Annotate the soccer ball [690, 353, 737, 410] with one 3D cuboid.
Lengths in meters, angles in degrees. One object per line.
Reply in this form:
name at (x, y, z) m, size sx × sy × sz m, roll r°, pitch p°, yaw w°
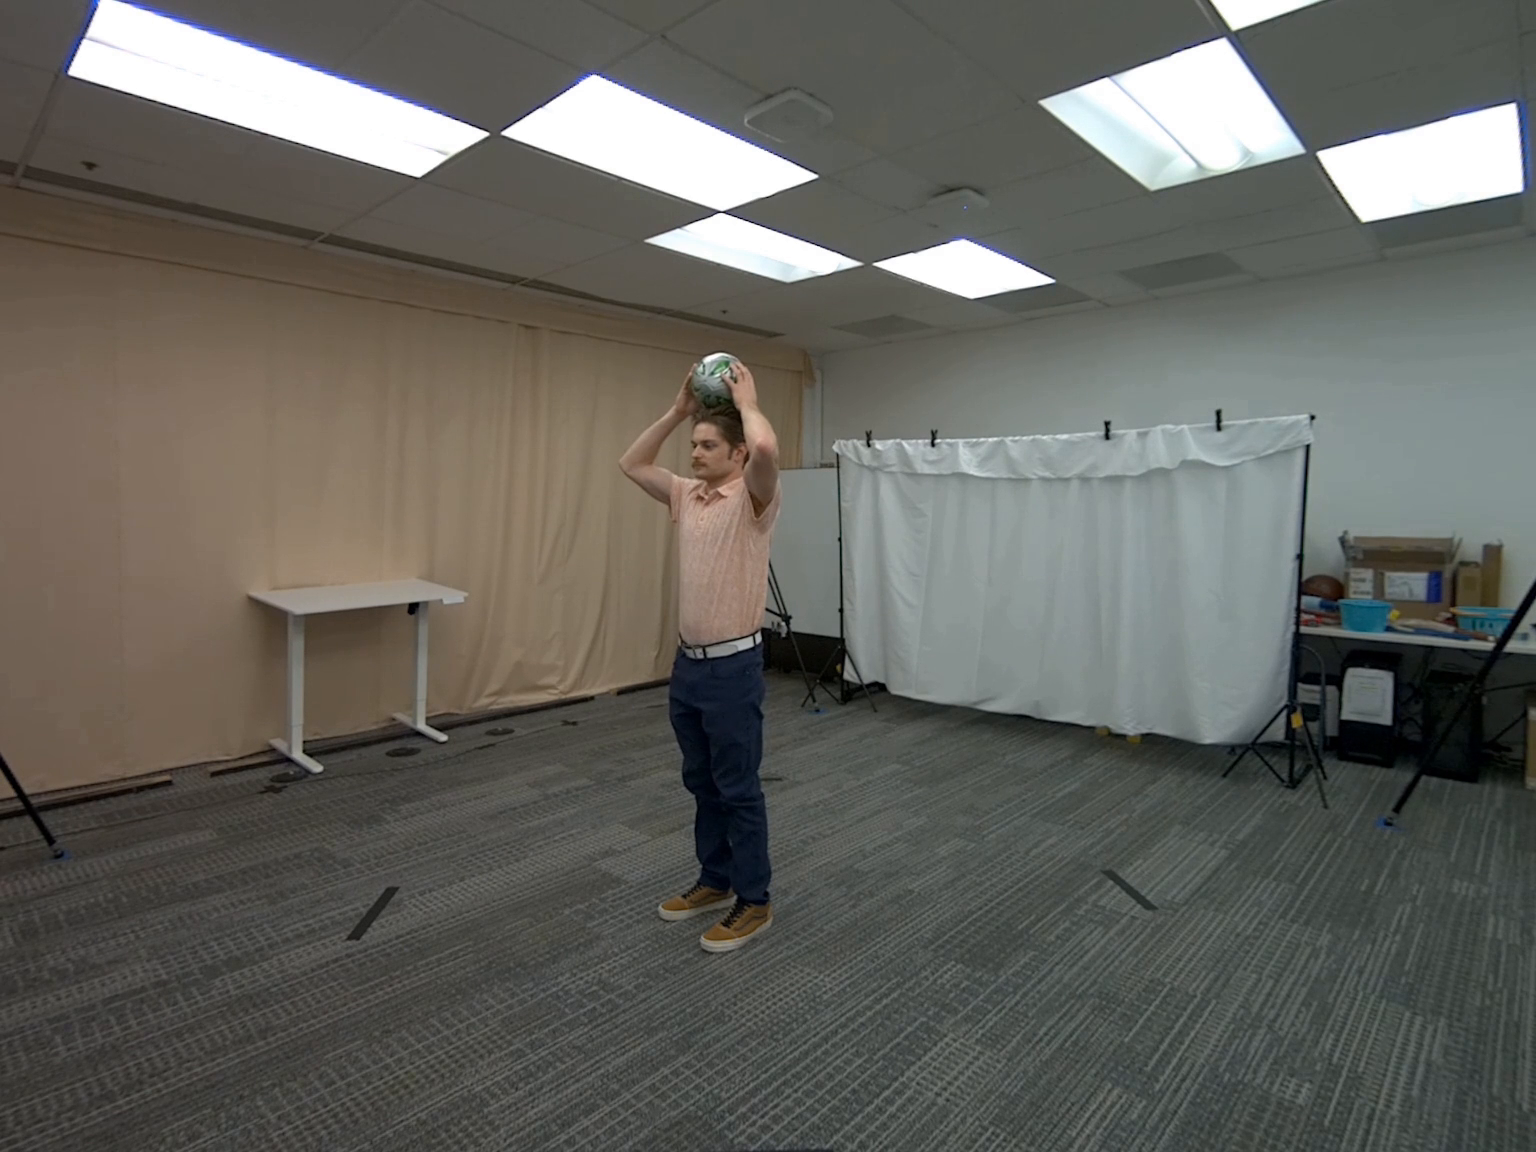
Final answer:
soccer ball at (-0.150, -0.630, 2.755) m, size 0.187 × 0.187 × 0.188 m, roll 0°, pitch 4°, yaw -2°
